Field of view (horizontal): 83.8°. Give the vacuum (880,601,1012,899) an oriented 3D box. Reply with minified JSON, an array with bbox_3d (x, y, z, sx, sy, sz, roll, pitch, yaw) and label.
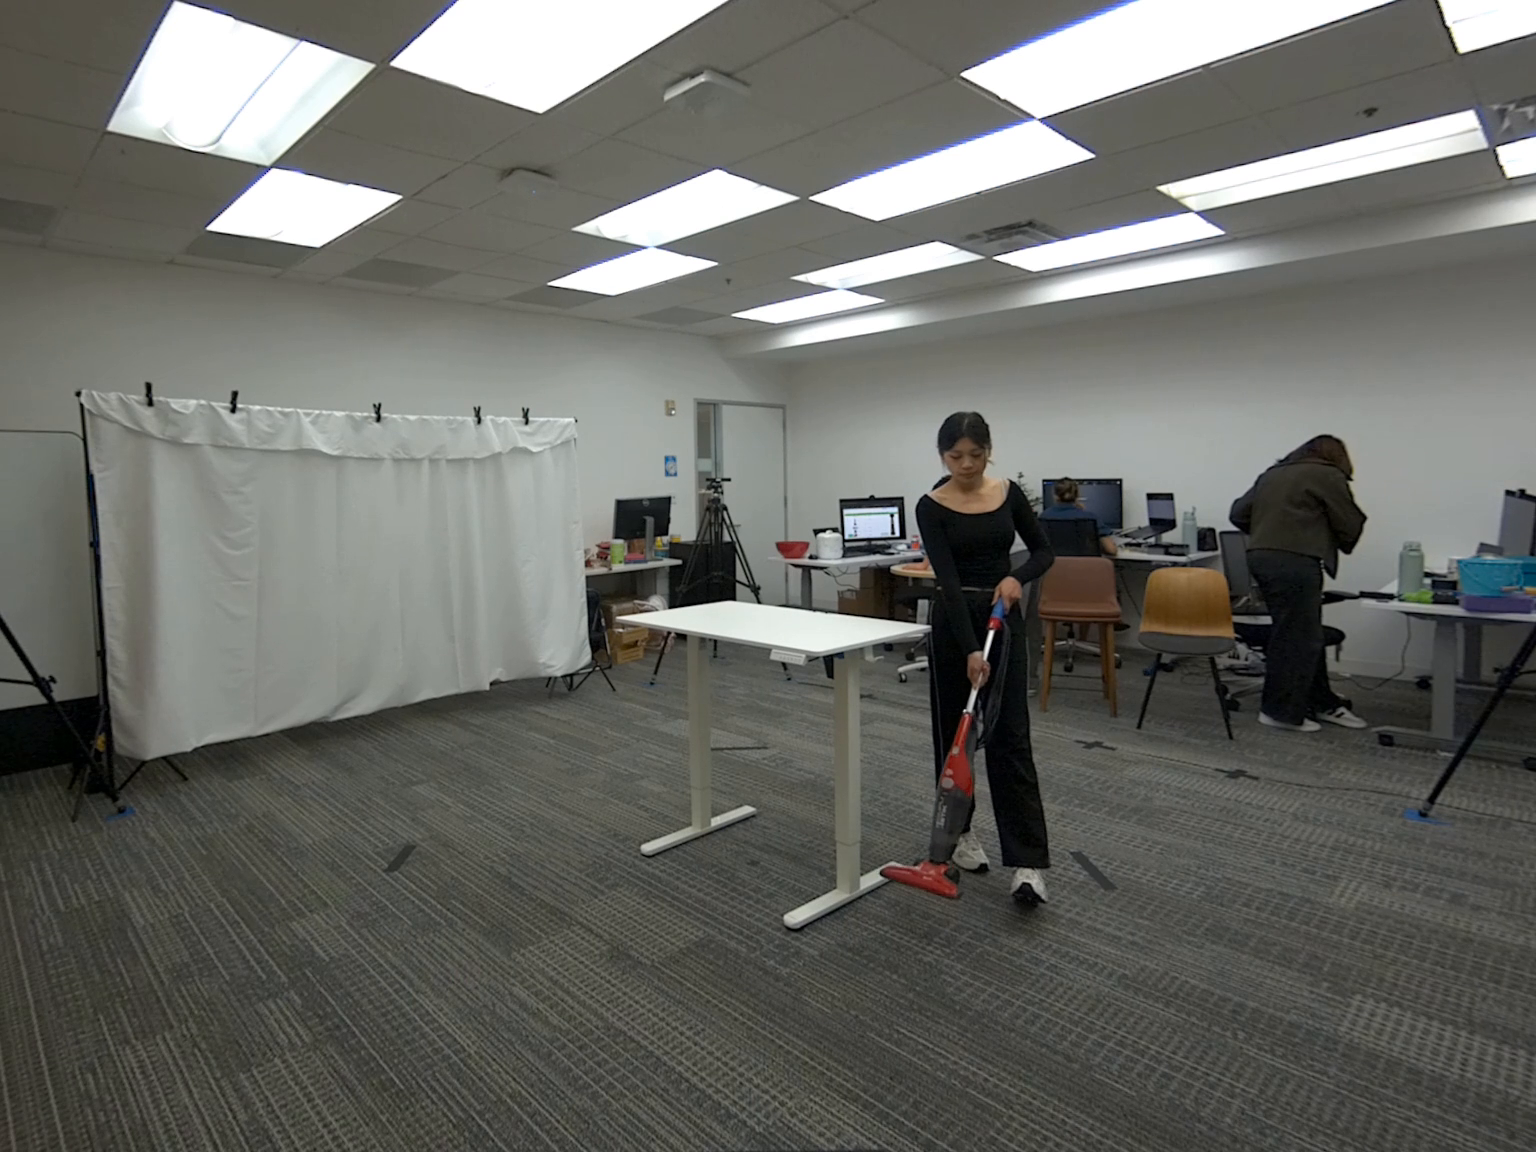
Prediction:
[{"bbox_3d":[0.663,0.467,2.708,0.260,1.059,0.138,3,-28,41],"label":"vacuum"}]
